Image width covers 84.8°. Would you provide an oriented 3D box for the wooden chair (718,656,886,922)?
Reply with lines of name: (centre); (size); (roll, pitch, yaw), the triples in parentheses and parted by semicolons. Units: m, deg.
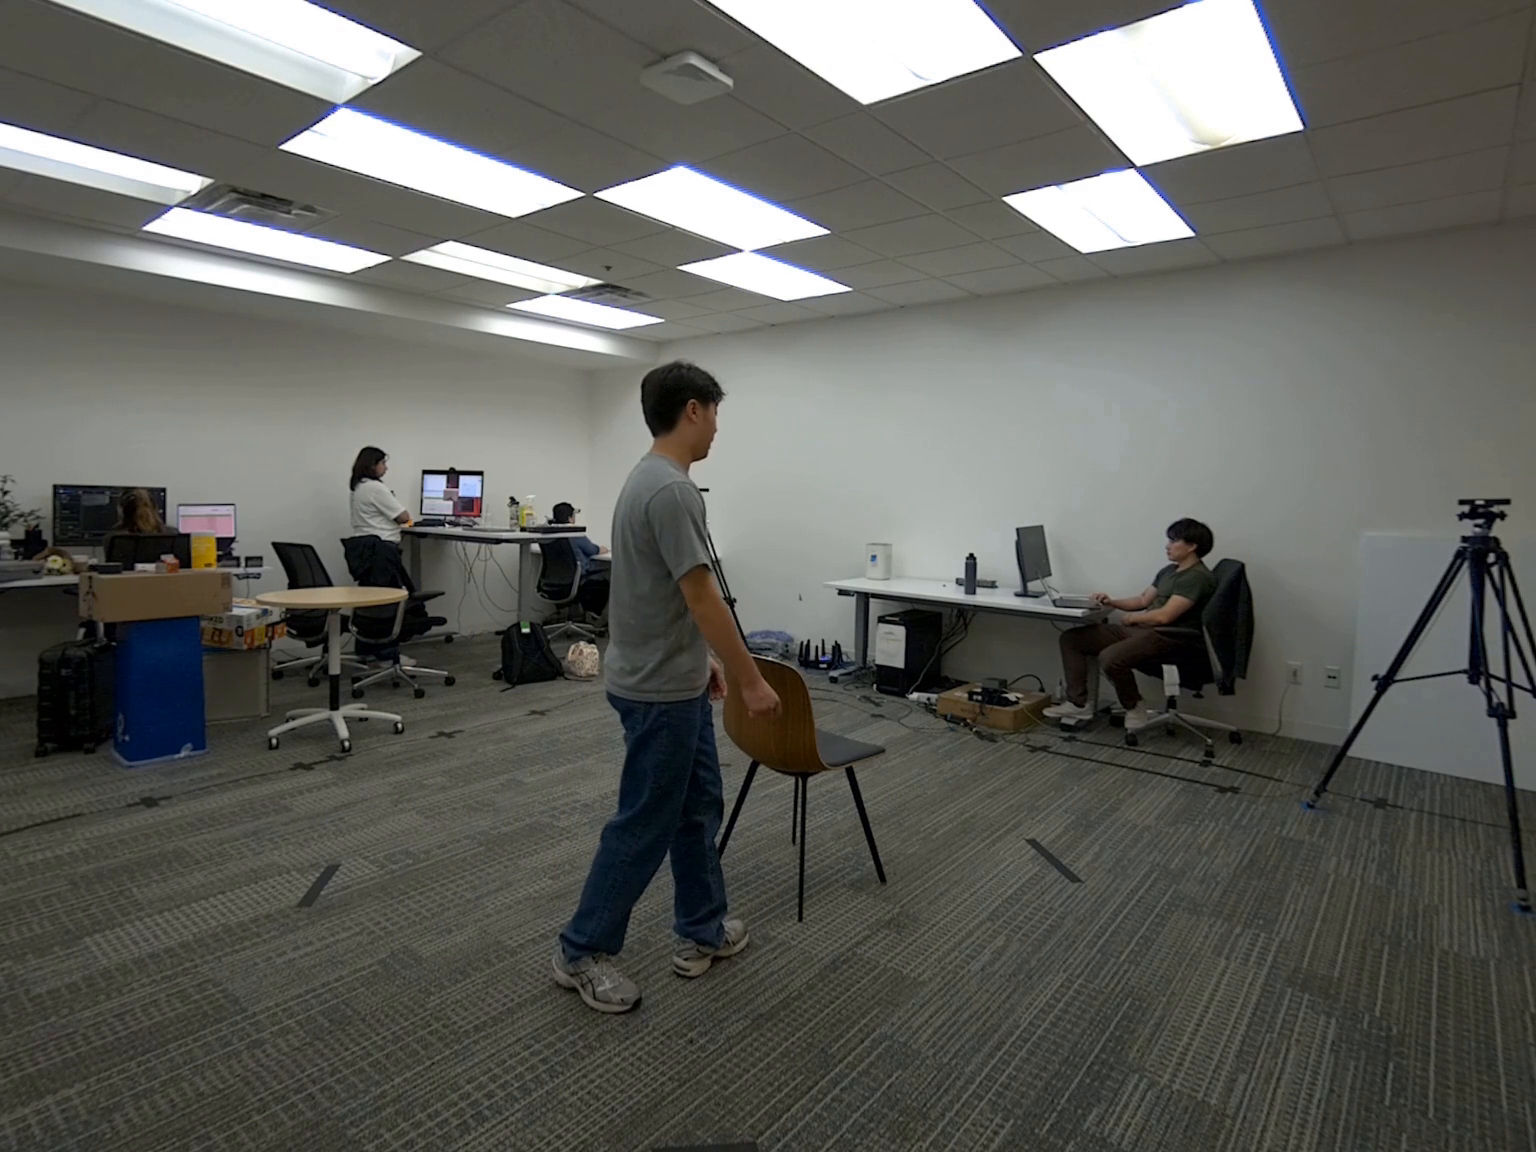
wooden chair: (0.111, 0.657, 3.032); (0.509, 0.872, 0.494); (-8, 8, -43)
